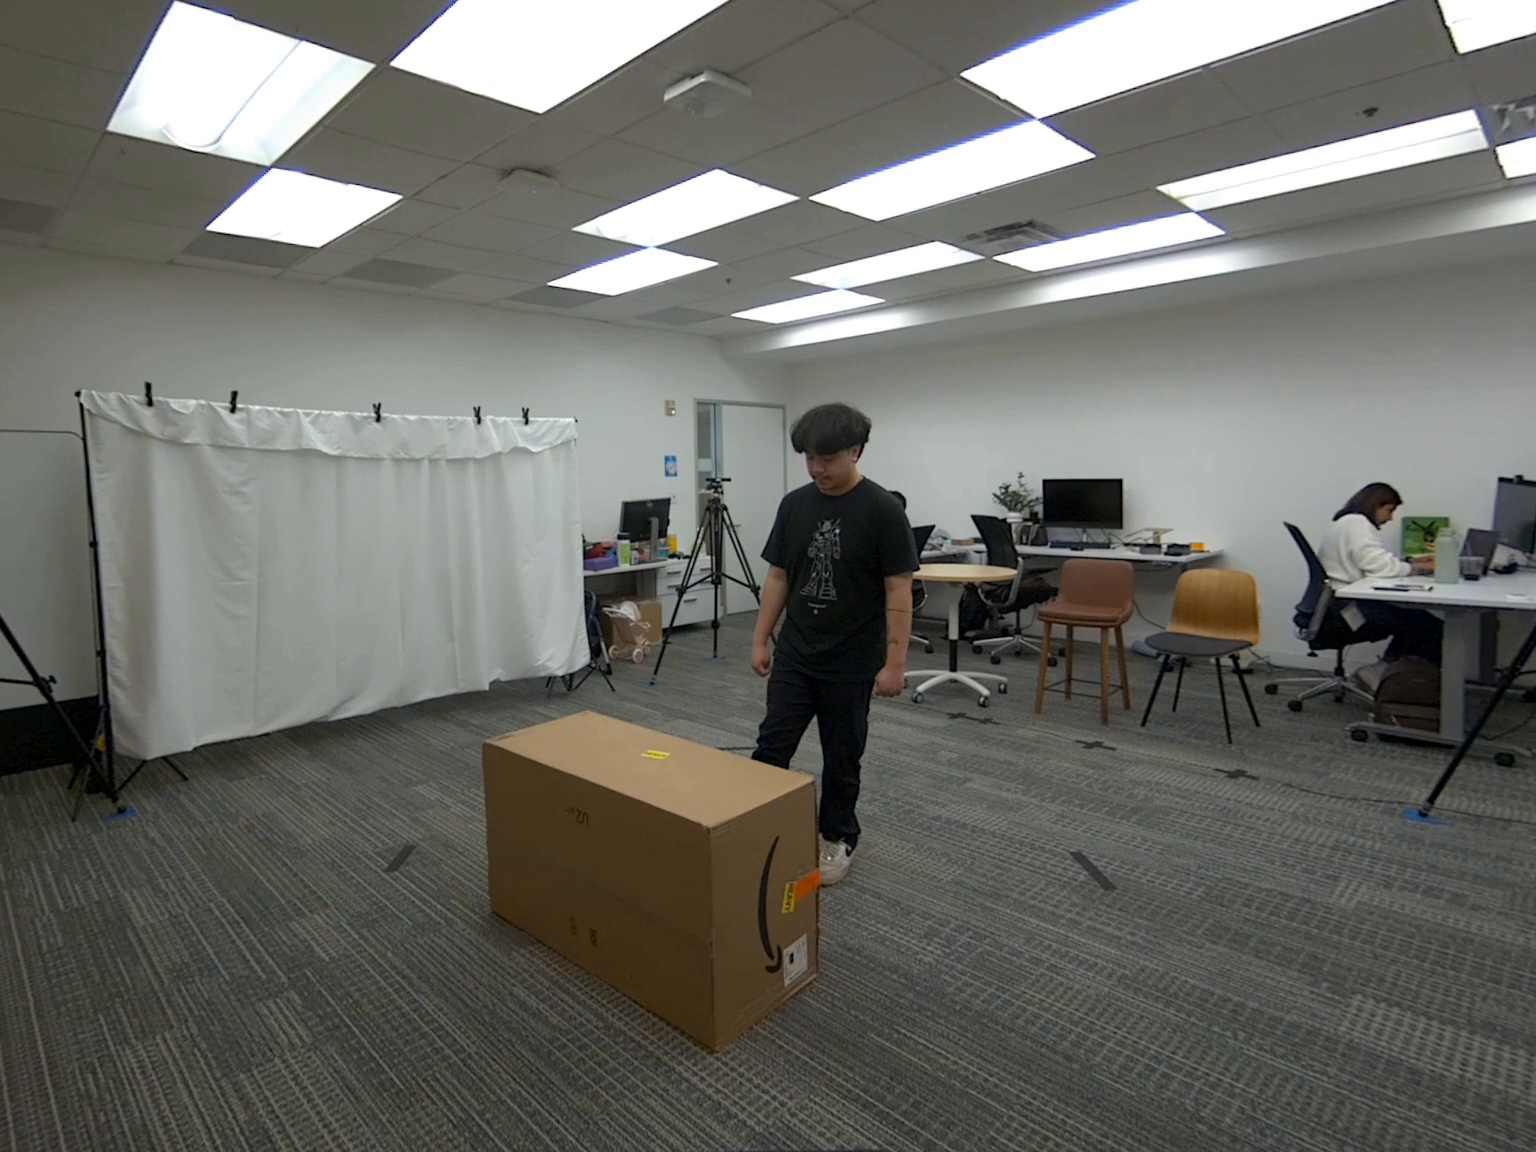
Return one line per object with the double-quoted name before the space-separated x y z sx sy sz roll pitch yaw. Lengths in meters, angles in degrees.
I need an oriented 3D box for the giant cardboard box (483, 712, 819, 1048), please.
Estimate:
"giant cardboard box" -0.380 0.825 2.569 1.059 0.581 0.435 5 7 42
